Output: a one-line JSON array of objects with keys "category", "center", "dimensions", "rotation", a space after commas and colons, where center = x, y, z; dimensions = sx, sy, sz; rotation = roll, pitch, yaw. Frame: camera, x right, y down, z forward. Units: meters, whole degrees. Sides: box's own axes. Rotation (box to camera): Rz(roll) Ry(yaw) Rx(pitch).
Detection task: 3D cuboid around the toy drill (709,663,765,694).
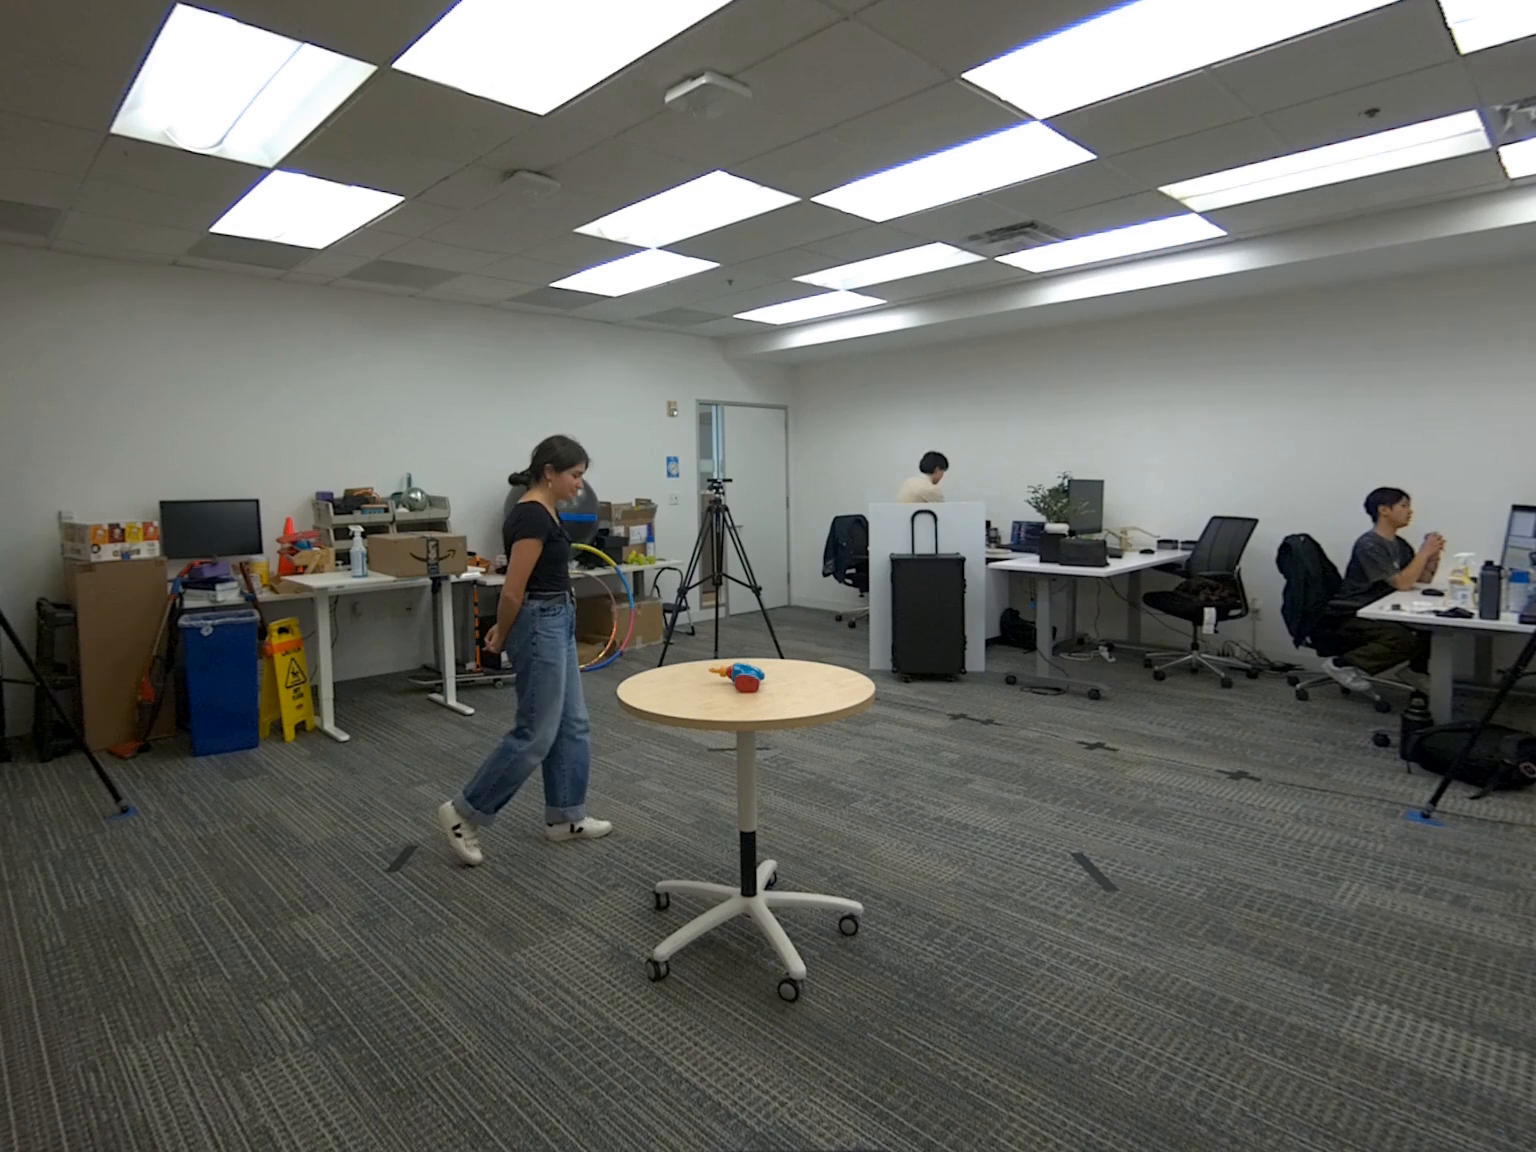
[{"category": "toy drill", "center": [-0.094, 0.299, 2.531], "dimensions": [0.171, 0.061, 0.146], "rotation": [8, 8, 4]}]
